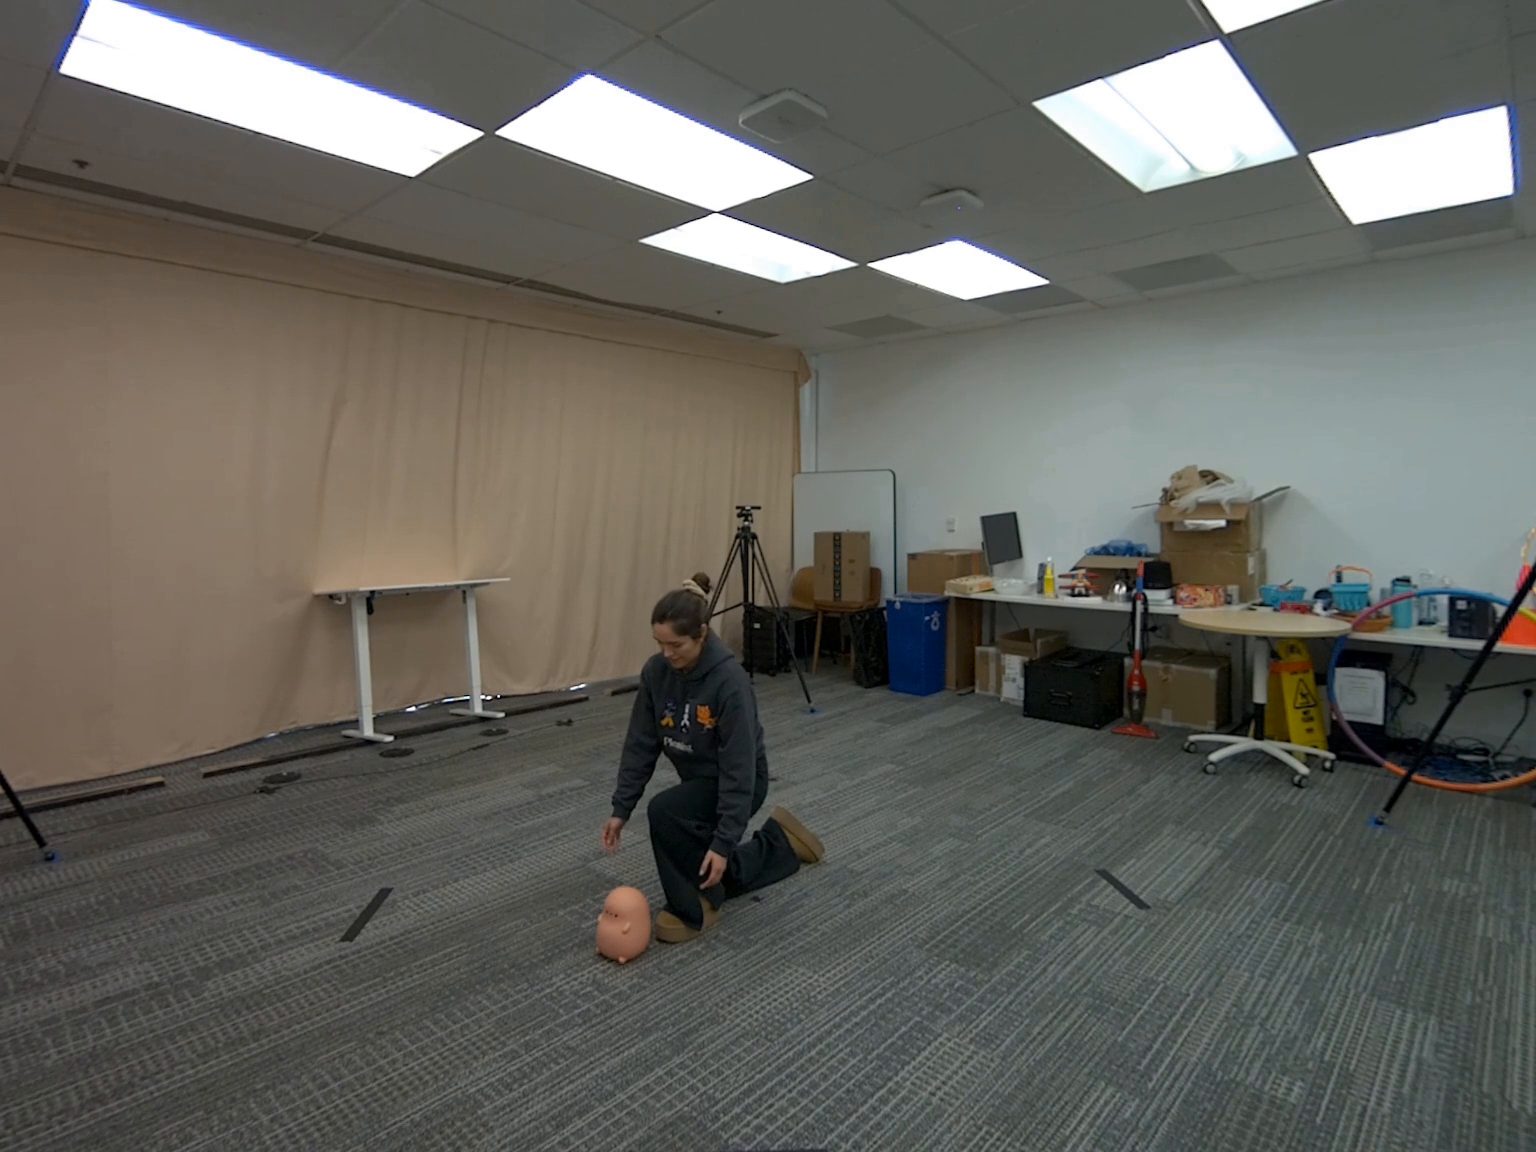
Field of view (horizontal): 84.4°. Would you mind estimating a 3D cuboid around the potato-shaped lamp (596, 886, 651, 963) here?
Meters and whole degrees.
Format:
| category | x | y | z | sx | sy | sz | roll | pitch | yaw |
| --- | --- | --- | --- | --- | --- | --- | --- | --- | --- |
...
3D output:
| category | x | y | z | sx | sy | sz | roll | pitch | yaw |
| --- | --- | --- | --- | --- | --- | --- | --- | --- | --- |
| potato-shaped lamp | -0.430 | 1.078 | 2.635 | 0.170 | 0.198 | 0.166 | 2 | 0 | 32 |
